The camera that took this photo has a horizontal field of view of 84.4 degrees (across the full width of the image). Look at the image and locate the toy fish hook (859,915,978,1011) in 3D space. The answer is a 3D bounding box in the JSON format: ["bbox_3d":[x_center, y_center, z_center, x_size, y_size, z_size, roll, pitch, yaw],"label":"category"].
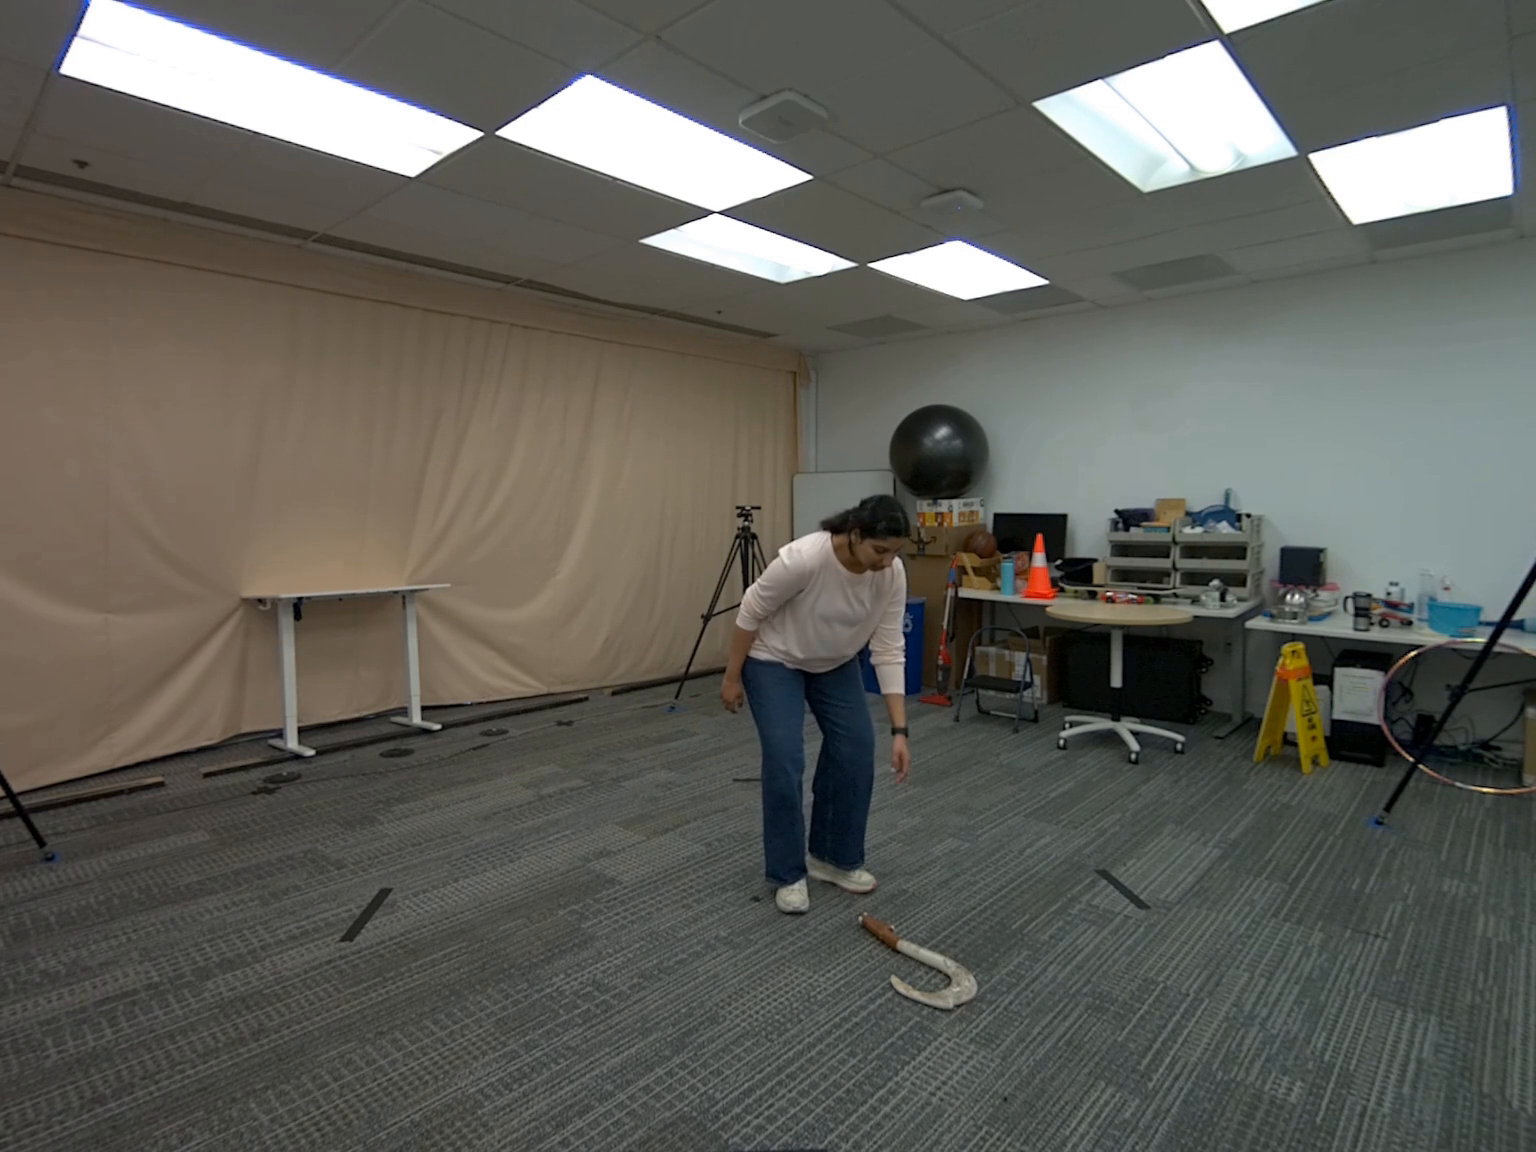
[{"bbox_3d":[0.409,1.156,2.553,0.218,0.048,0.522,-3,5,-32],"label":"toy fish hook"}]
